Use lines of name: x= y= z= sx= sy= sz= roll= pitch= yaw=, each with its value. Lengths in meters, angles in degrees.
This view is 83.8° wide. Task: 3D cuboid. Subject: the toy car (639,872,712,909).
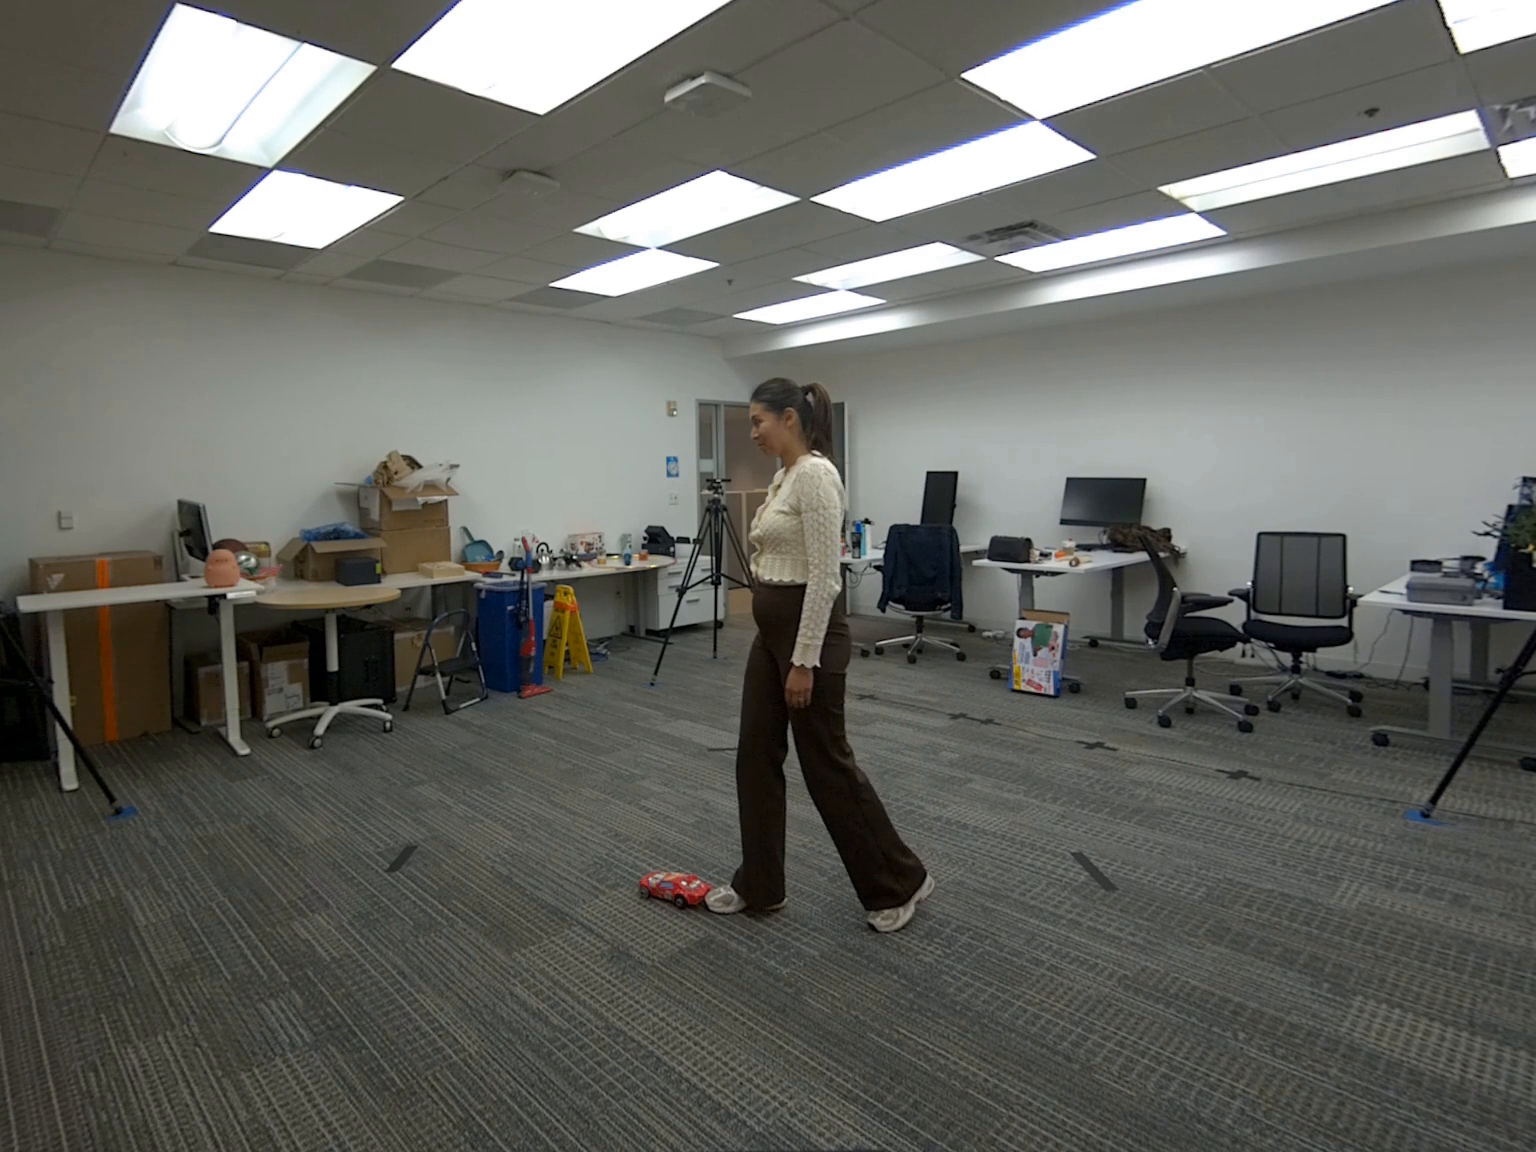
toy car: x=-0.303 y=1.049 z=2.851 sx=0.260 sy=0.083 sz=0.127 roll=-9 pitch=0 yaw=31
